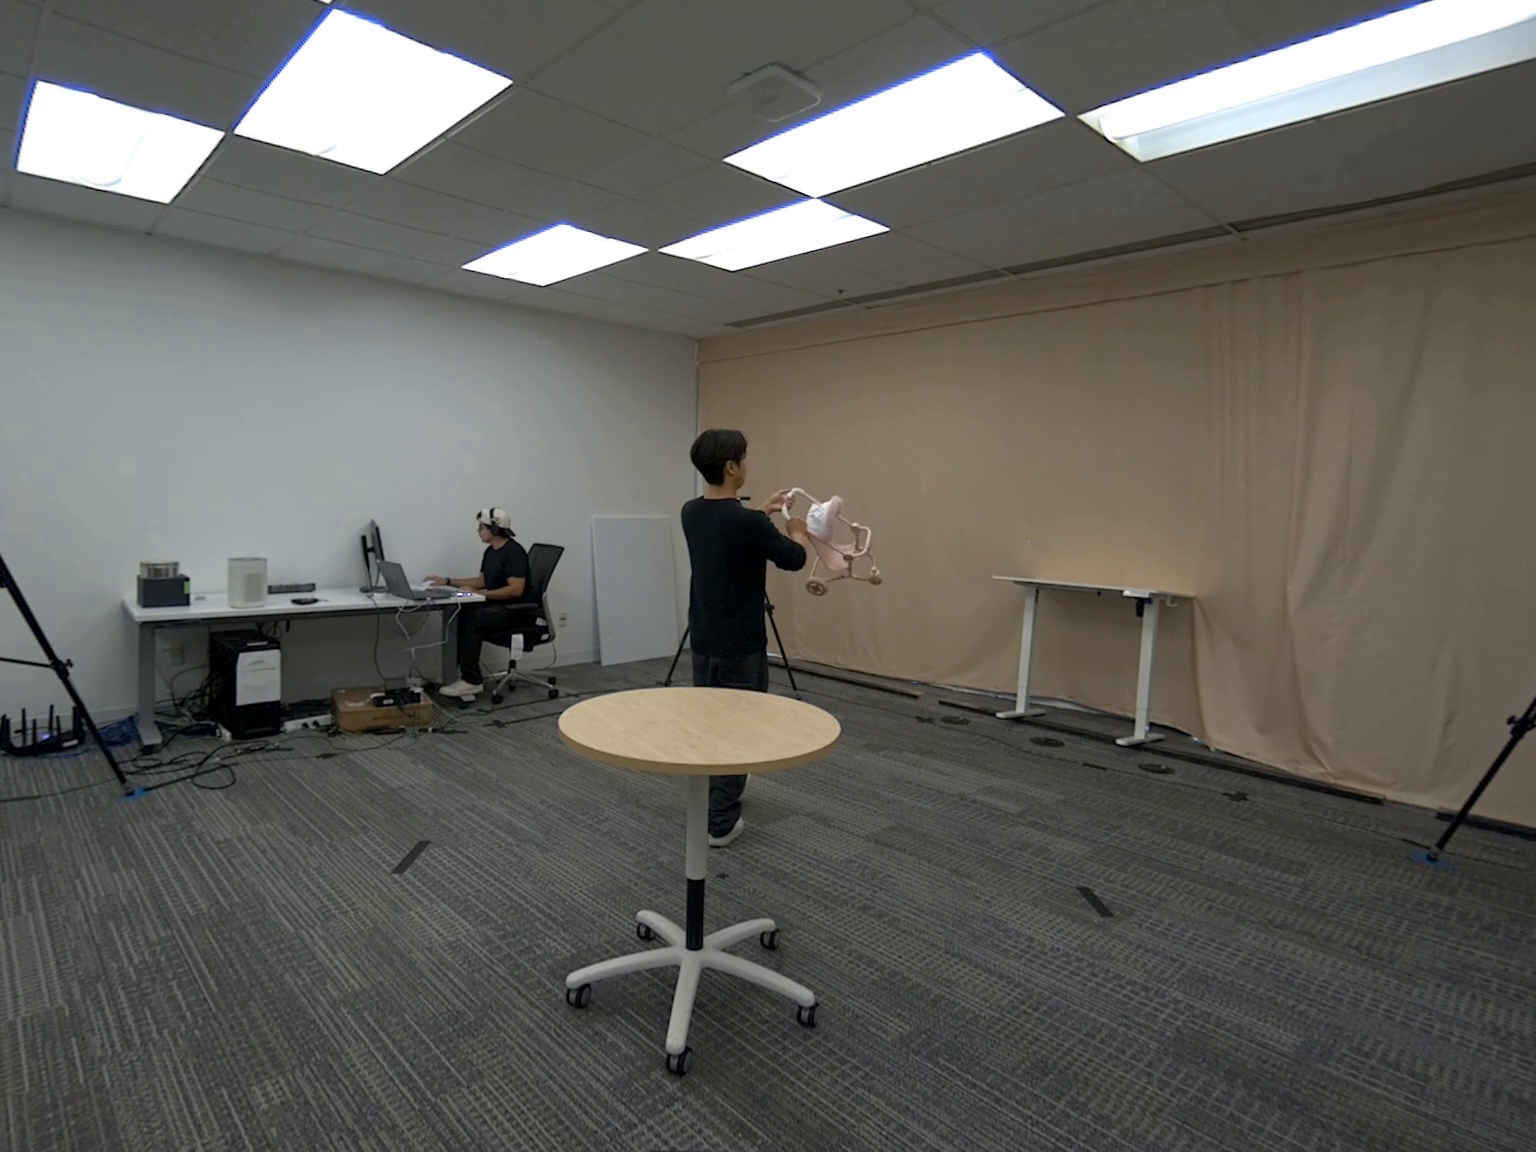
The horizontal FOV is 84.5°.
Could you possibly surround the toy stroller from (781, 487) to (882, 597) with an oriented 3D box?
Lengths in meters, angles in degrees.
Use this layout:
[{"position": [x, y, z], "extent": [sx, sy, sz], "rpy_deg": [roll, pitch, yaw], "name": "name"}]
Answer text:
[{"position": [0.297, -0.151, 3.799], "extent": [0.348, 0.520, 0.284], "rpy_deg": [1, 43, 27], "name": "toy stroller"}]
